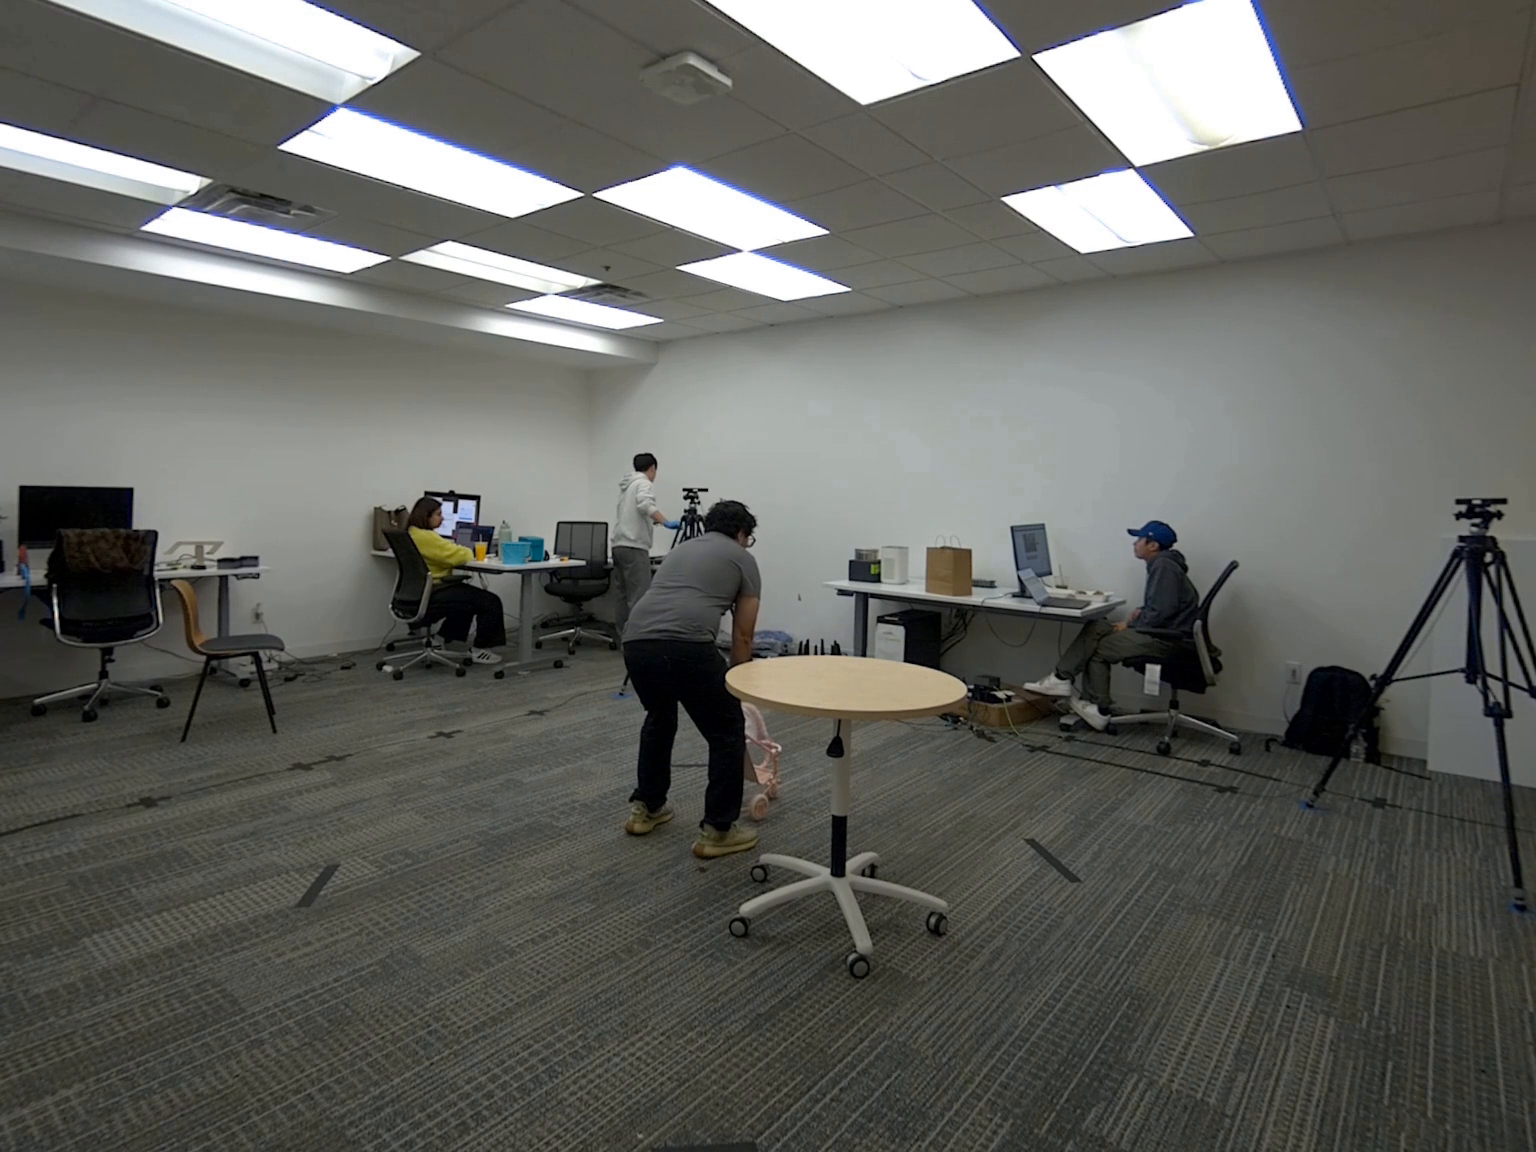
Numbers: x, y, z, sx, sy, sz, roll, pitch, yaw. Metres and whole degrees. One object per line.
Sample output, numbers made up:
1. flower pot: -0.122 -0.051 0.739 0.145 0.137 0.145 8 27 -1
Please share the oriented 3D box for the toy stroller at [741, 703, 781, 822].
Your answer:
1. toy stroller: -0.100 0.786 3.708 0.291 0.527 0.335 5 19 44
